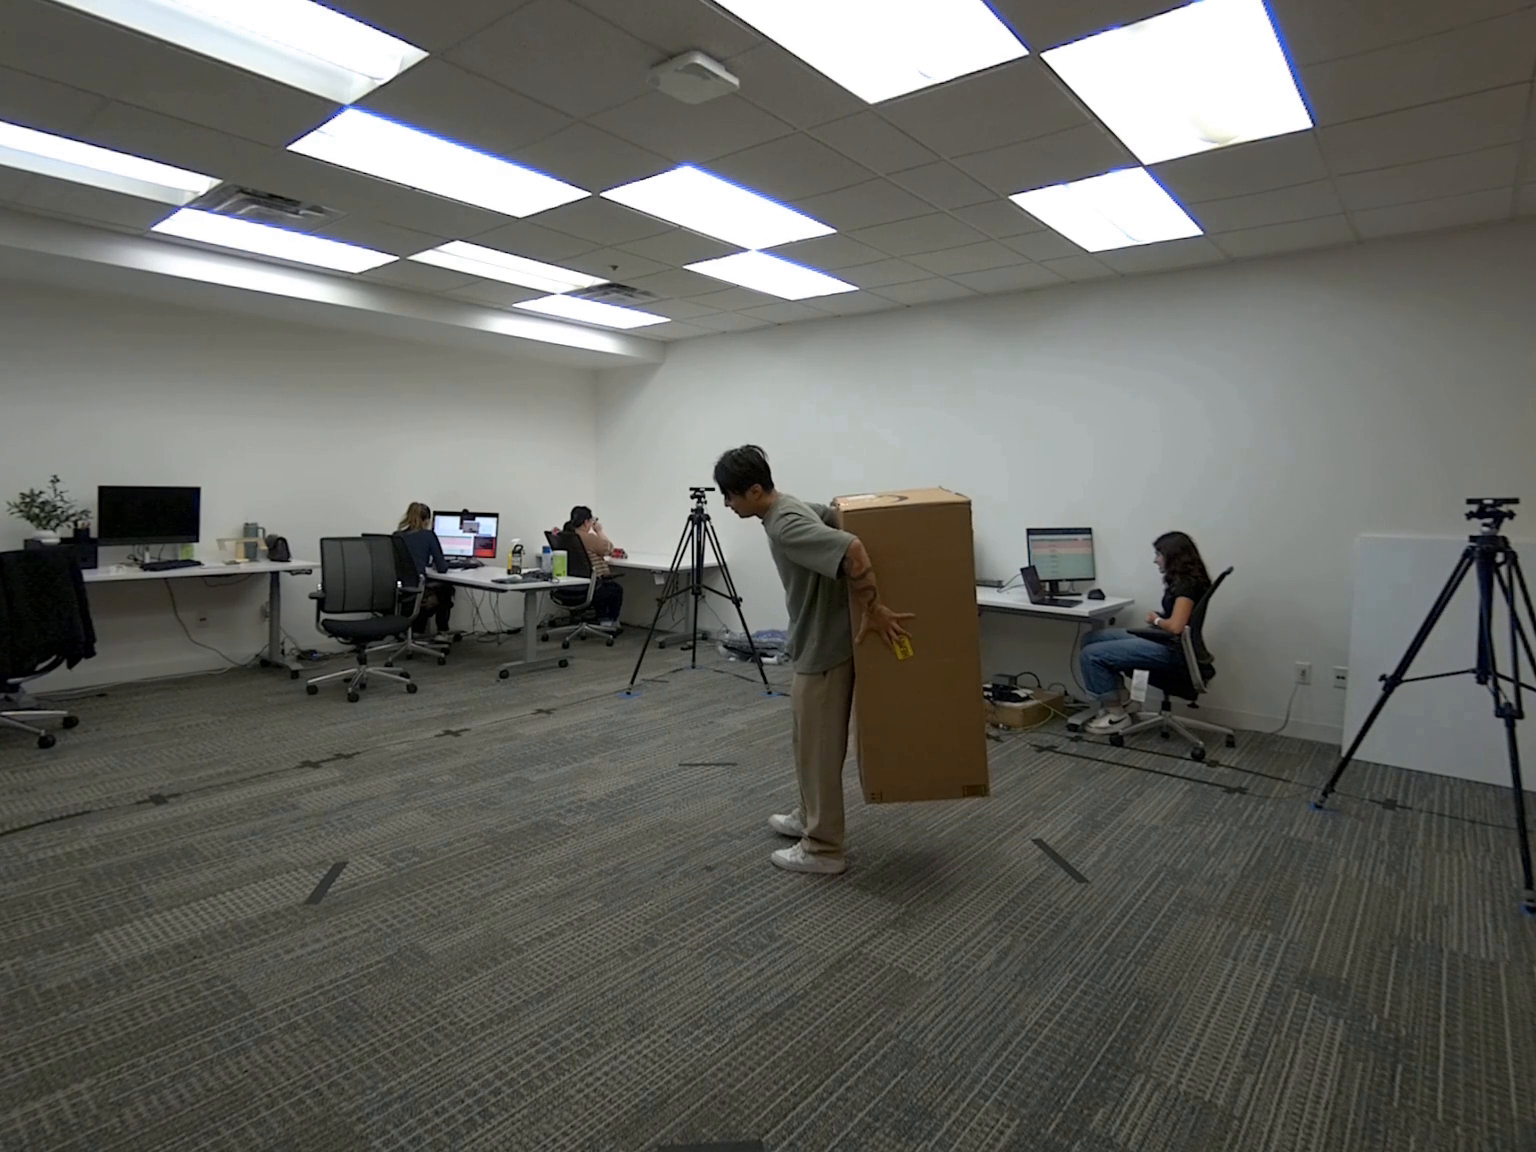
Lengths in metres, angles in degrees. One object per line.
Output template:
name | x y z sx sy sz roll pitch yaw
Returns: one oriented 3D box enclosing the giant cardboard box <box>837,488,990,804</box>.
giant cardboard box | 0.509 0.221 3.128 0.428 1.018 0.580 -4 8 3
